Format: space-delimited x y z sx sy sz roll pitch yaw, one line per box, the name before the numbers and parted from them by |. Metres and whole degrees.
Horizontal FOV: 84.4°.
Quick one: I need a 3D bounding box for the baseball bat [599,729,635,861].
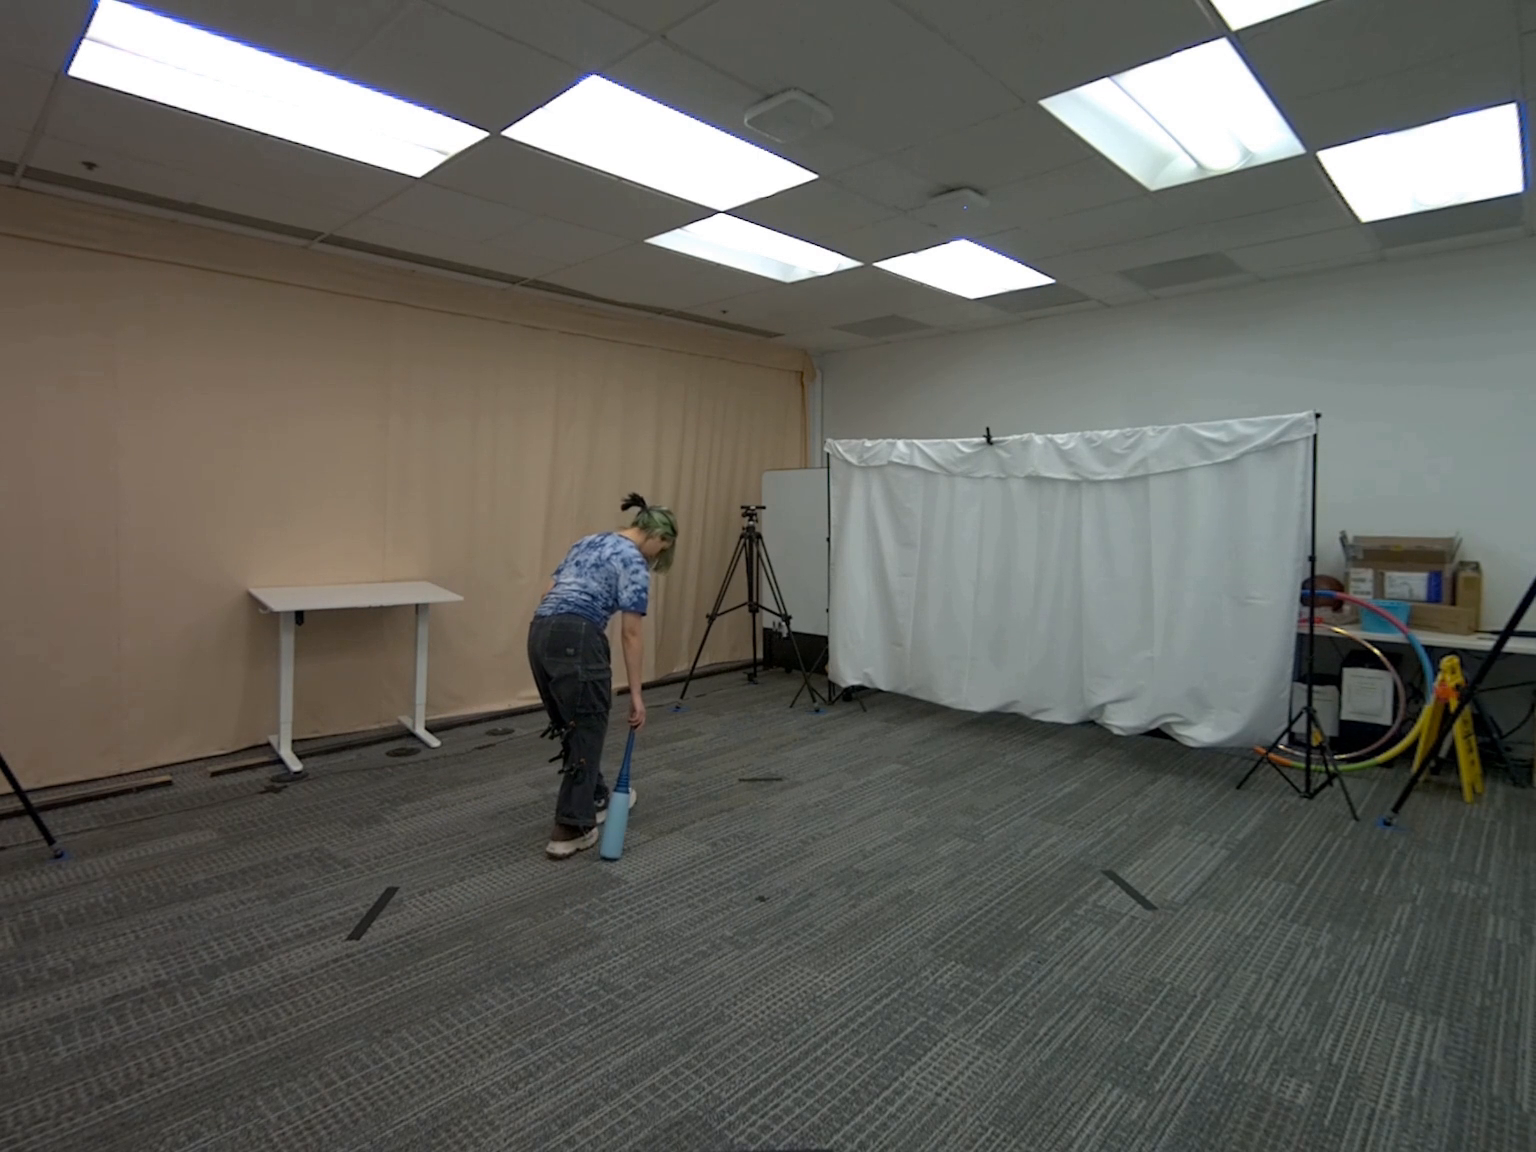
baseball bat | -0.586 0.858 3.392 0.089 0.546 0.088 10 -13 0
